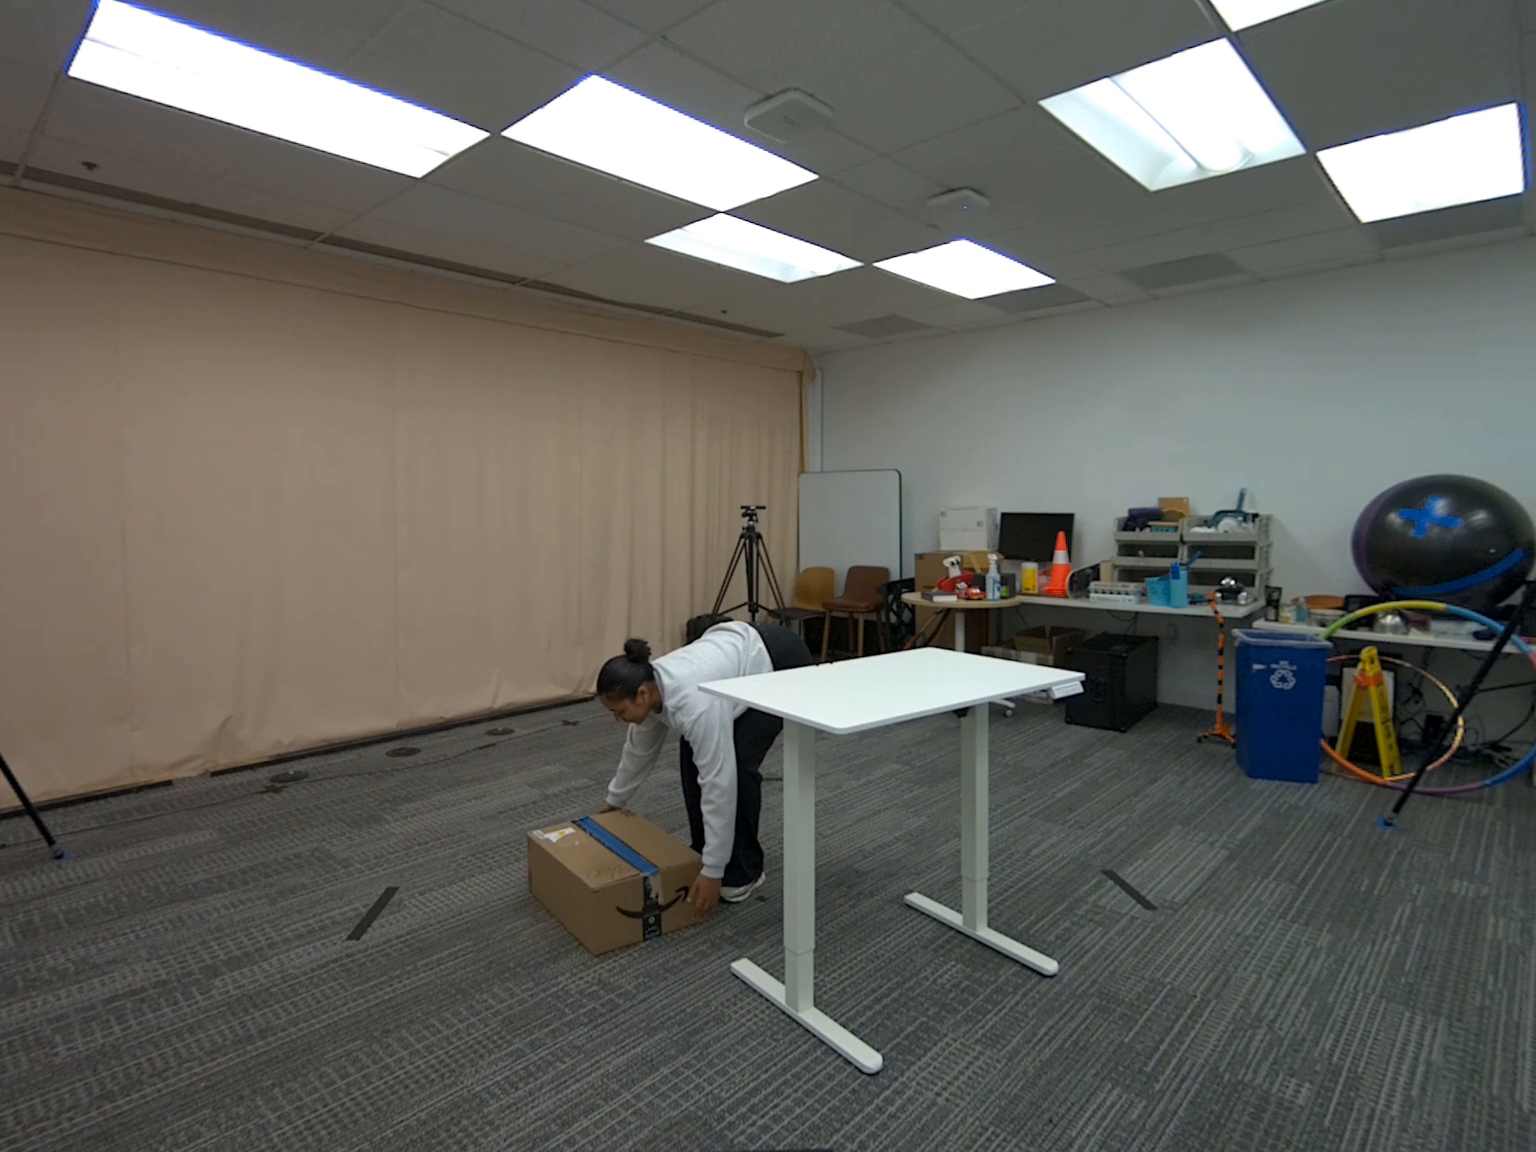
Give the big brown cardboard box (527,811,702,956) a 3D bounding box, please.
[{"bbox_3d":[-0.543,1.043,2.943,0.405,0.232,0.608,-3,6,-36],"label":"big brown cardboard box"}]
